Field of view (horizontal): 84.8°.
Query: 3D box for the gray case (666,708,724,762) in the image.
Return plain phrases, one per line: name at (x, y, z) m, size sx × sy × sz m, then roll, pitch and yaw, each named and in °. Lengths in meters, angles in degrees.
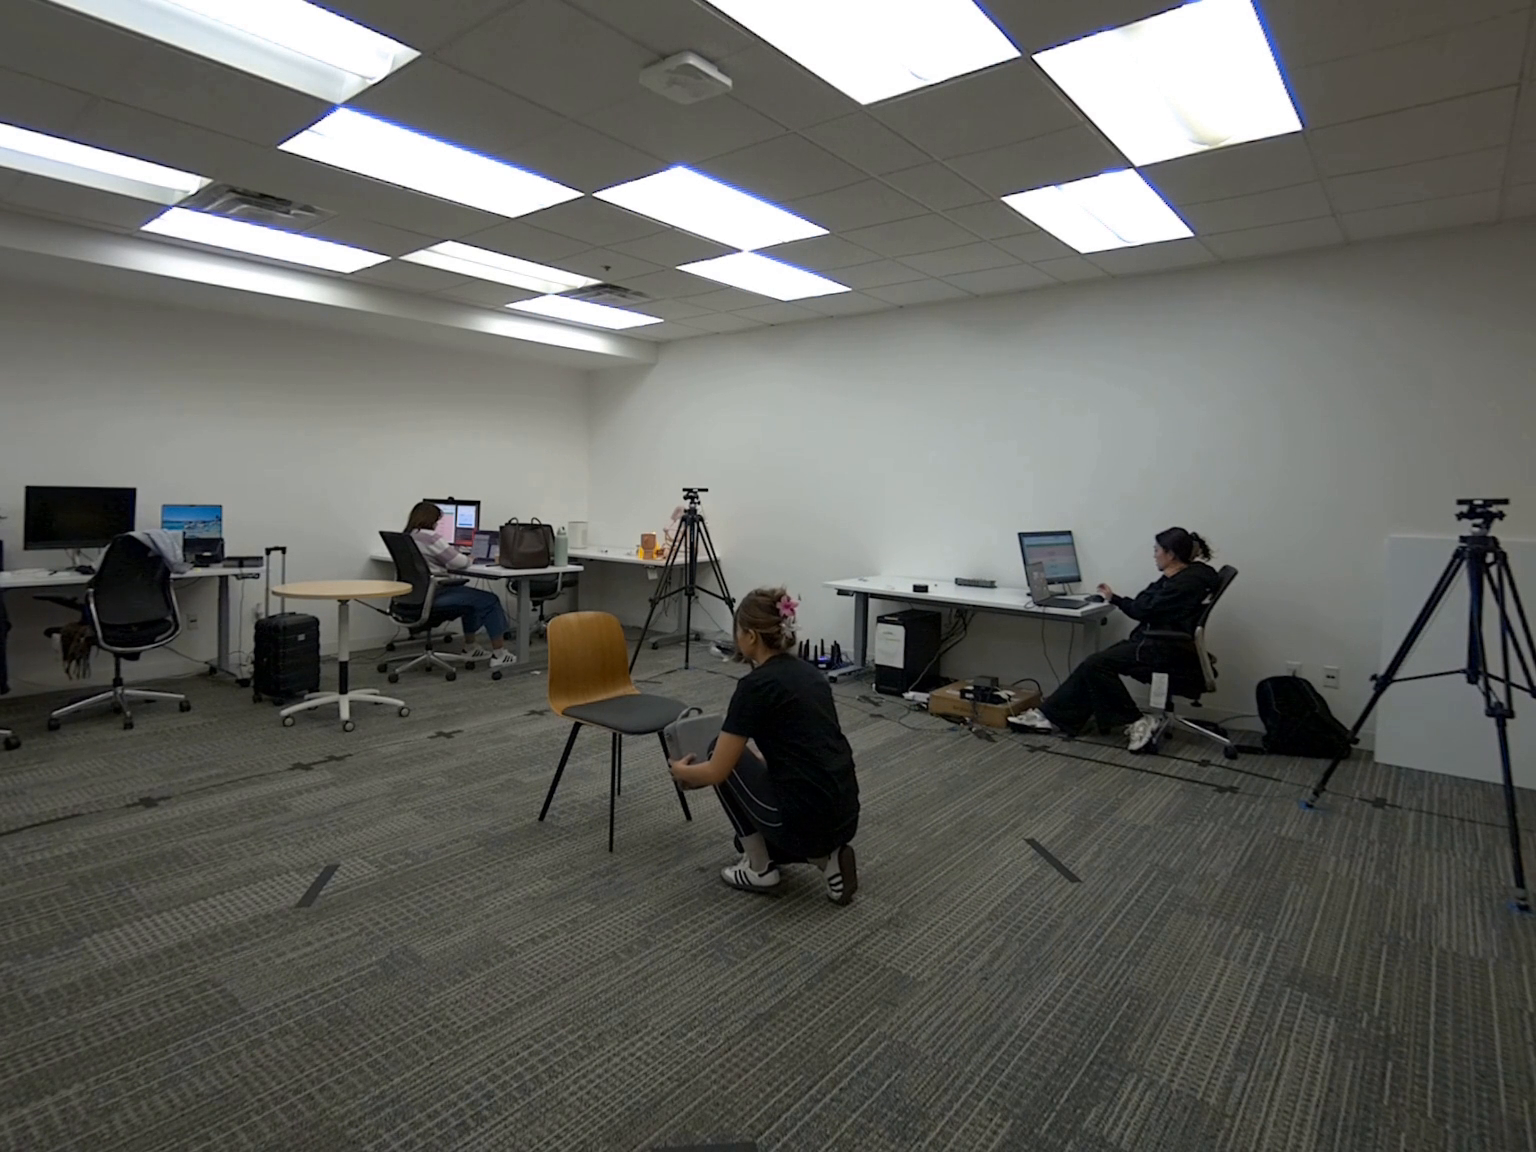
gray case at (-0.260, 0.650, 3.209) m, size 0.106 × 0.266 × 0.249 m, roll -29°, pitch -19°, yaw 38°
